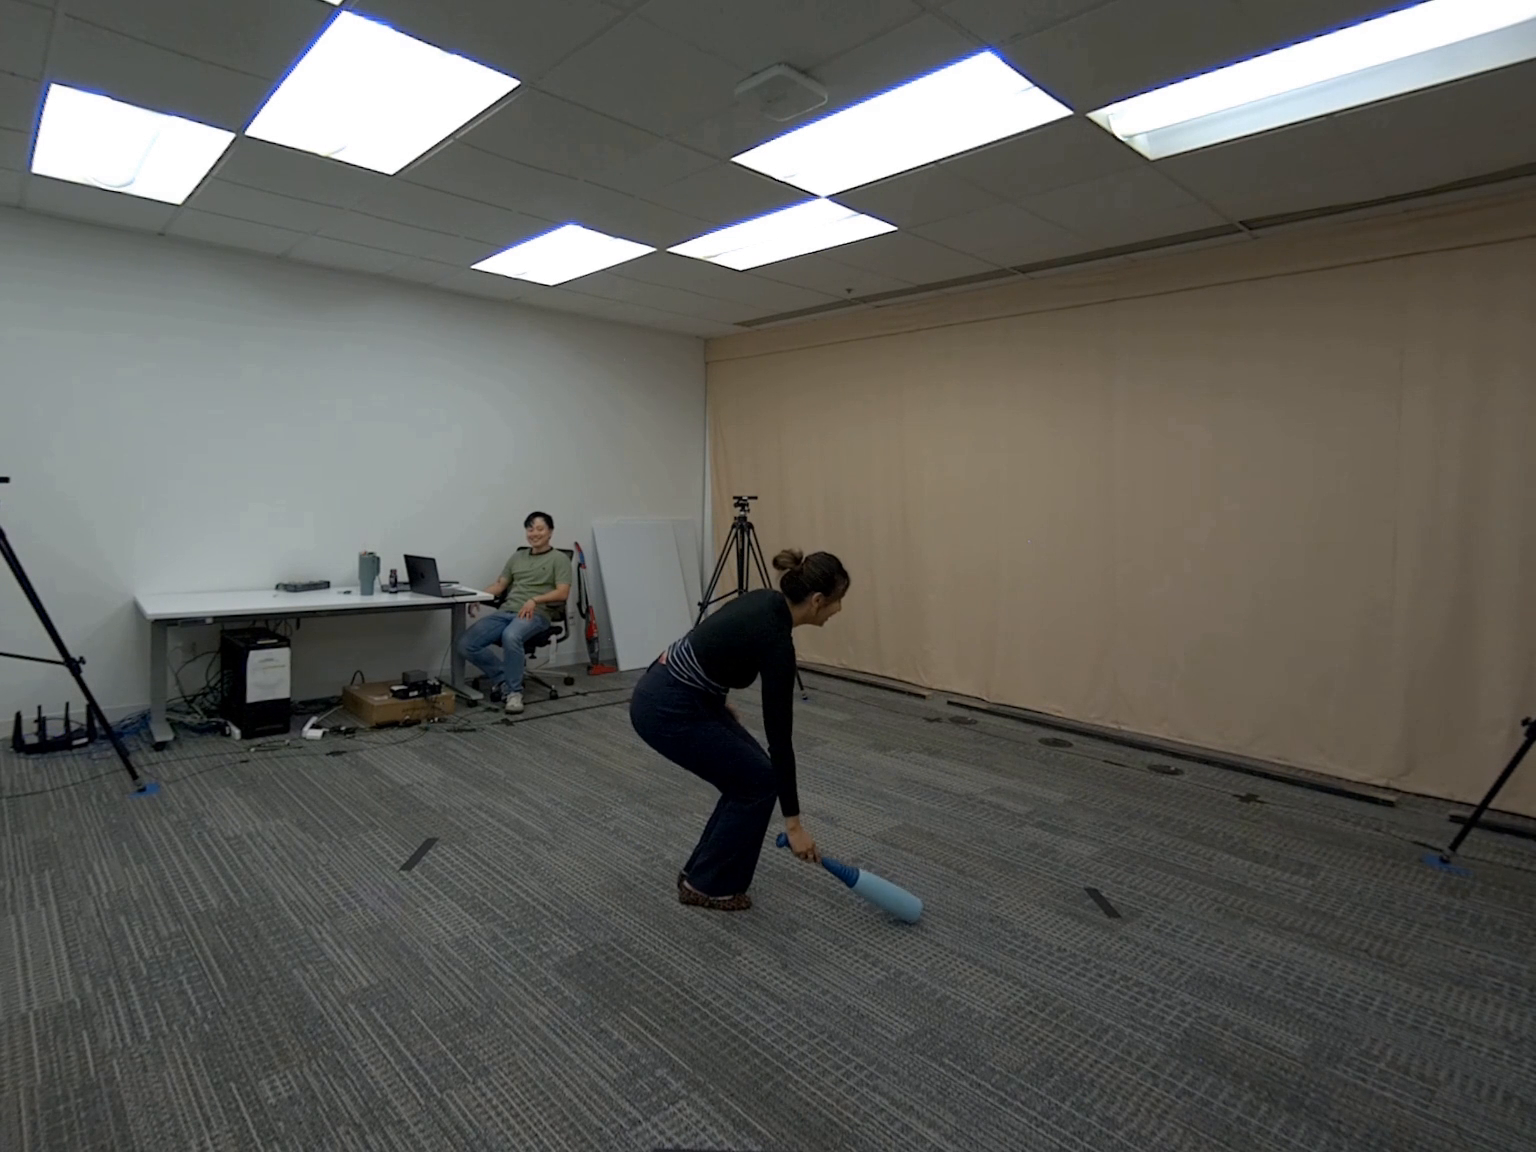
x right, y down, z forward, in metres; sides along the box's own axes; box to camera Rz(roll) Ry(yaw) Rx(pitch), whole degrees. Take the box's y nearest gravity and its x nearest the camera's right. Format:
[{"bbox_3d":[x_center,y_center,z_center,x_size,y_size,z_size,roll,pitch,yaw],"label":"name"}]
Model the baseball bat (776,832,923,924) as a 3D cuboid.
[{"bbox_3d":[0.258,0.975,2.755,0.539,0.089,0.089,28,1,-6],"label":"baseball bat"}]
